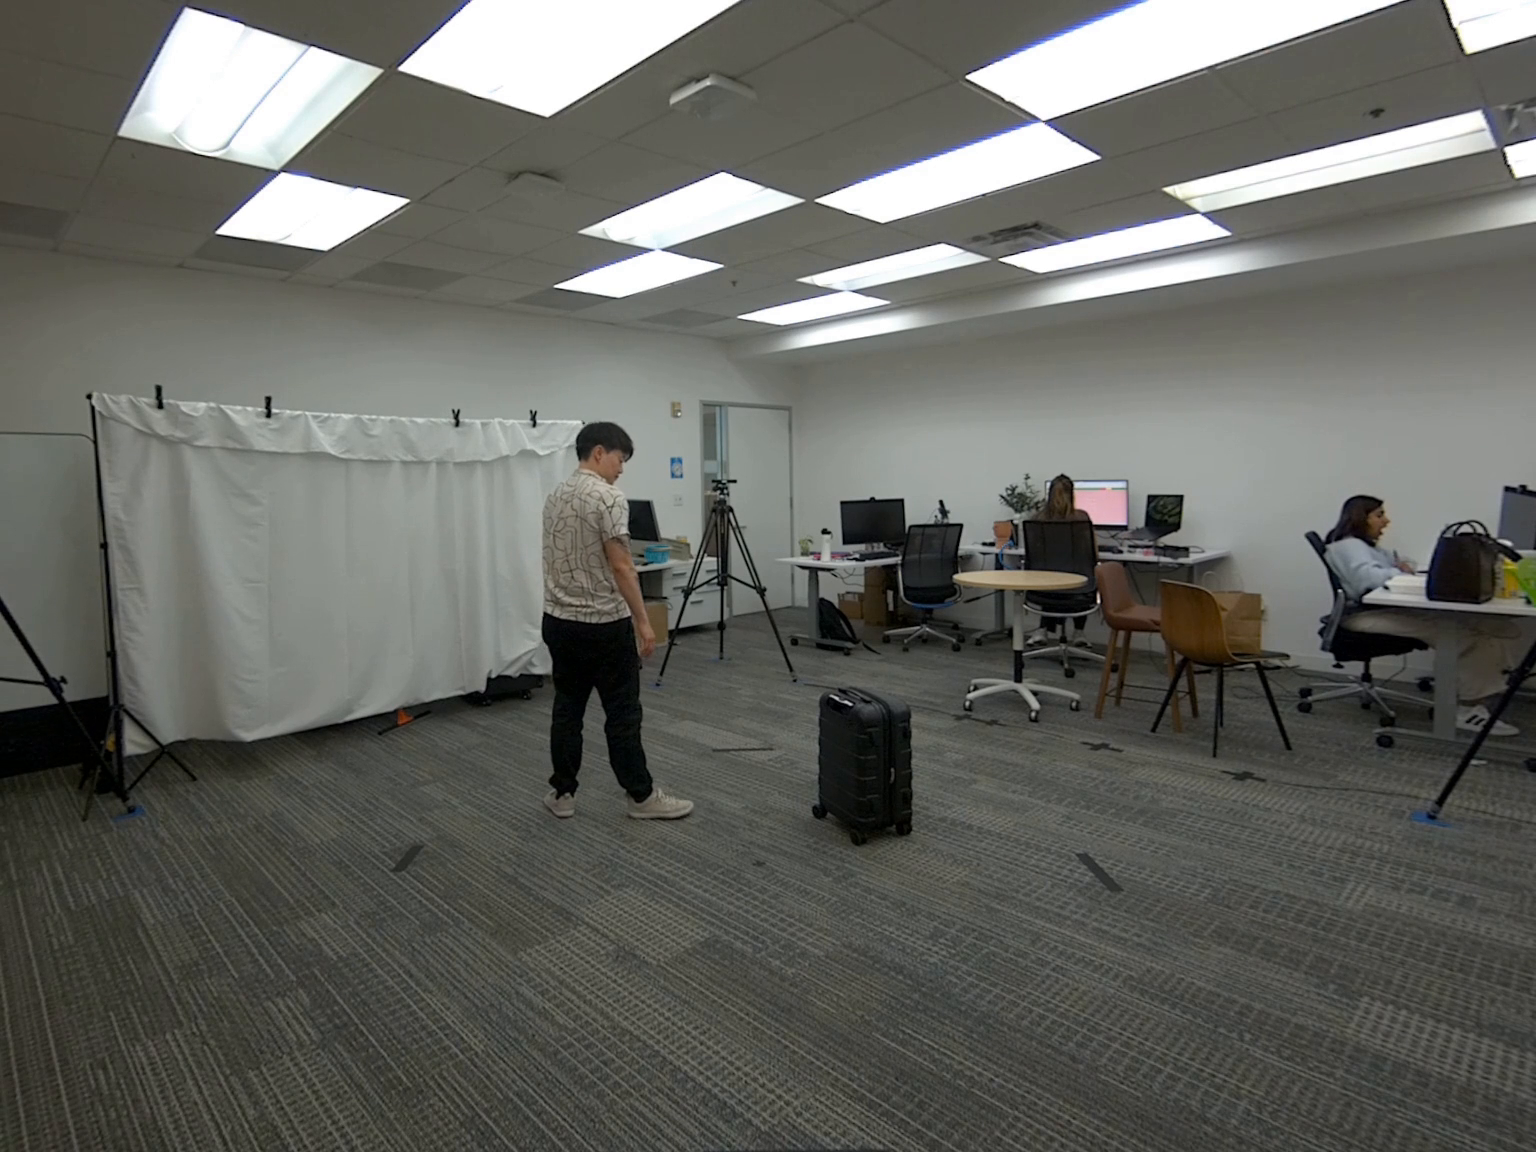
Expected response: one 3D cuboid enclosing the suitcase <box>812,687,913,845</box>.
[{"bbox_3d":[0.387,0.729,3.411,0.243,0.547,0.384,-3,5,-25],"label":"suitcase"}]
